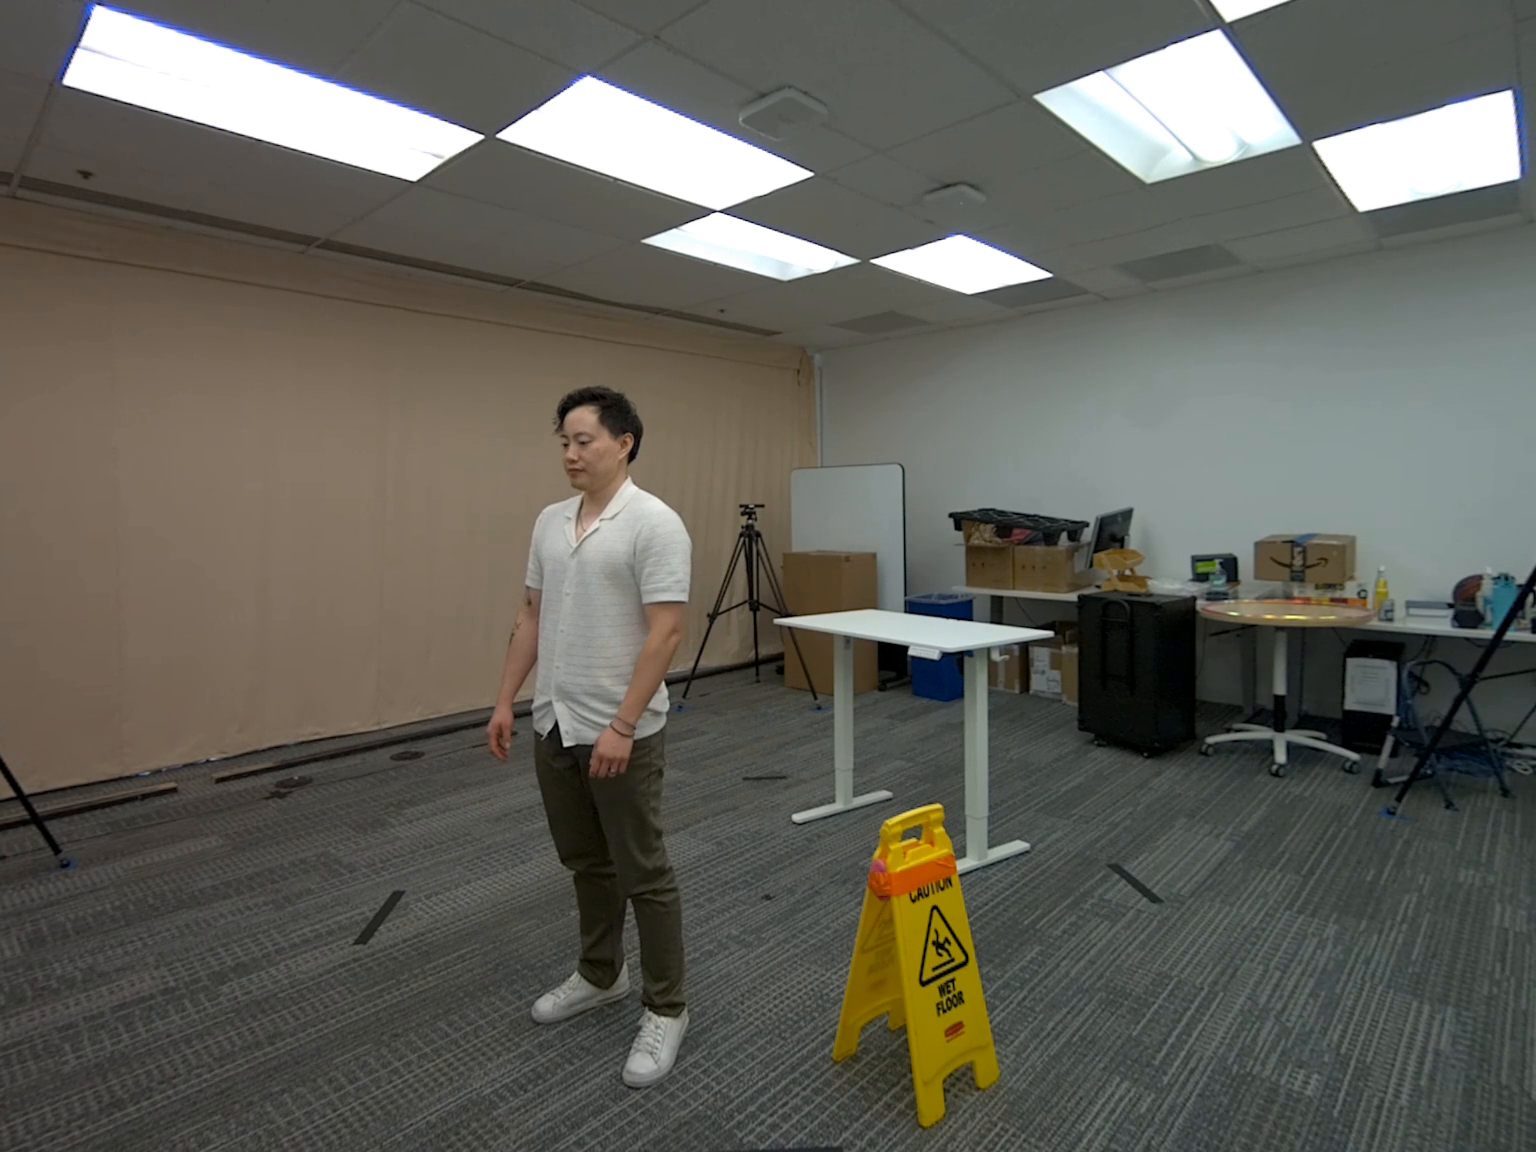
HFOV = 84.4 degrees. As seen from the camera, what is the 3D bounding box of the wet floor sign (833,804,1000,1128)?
[{"bbox_3d":[0.364,0.897,2.039,0.274,0.644,0.299,-4,5,-38],"label":"wet floor sign"}]
